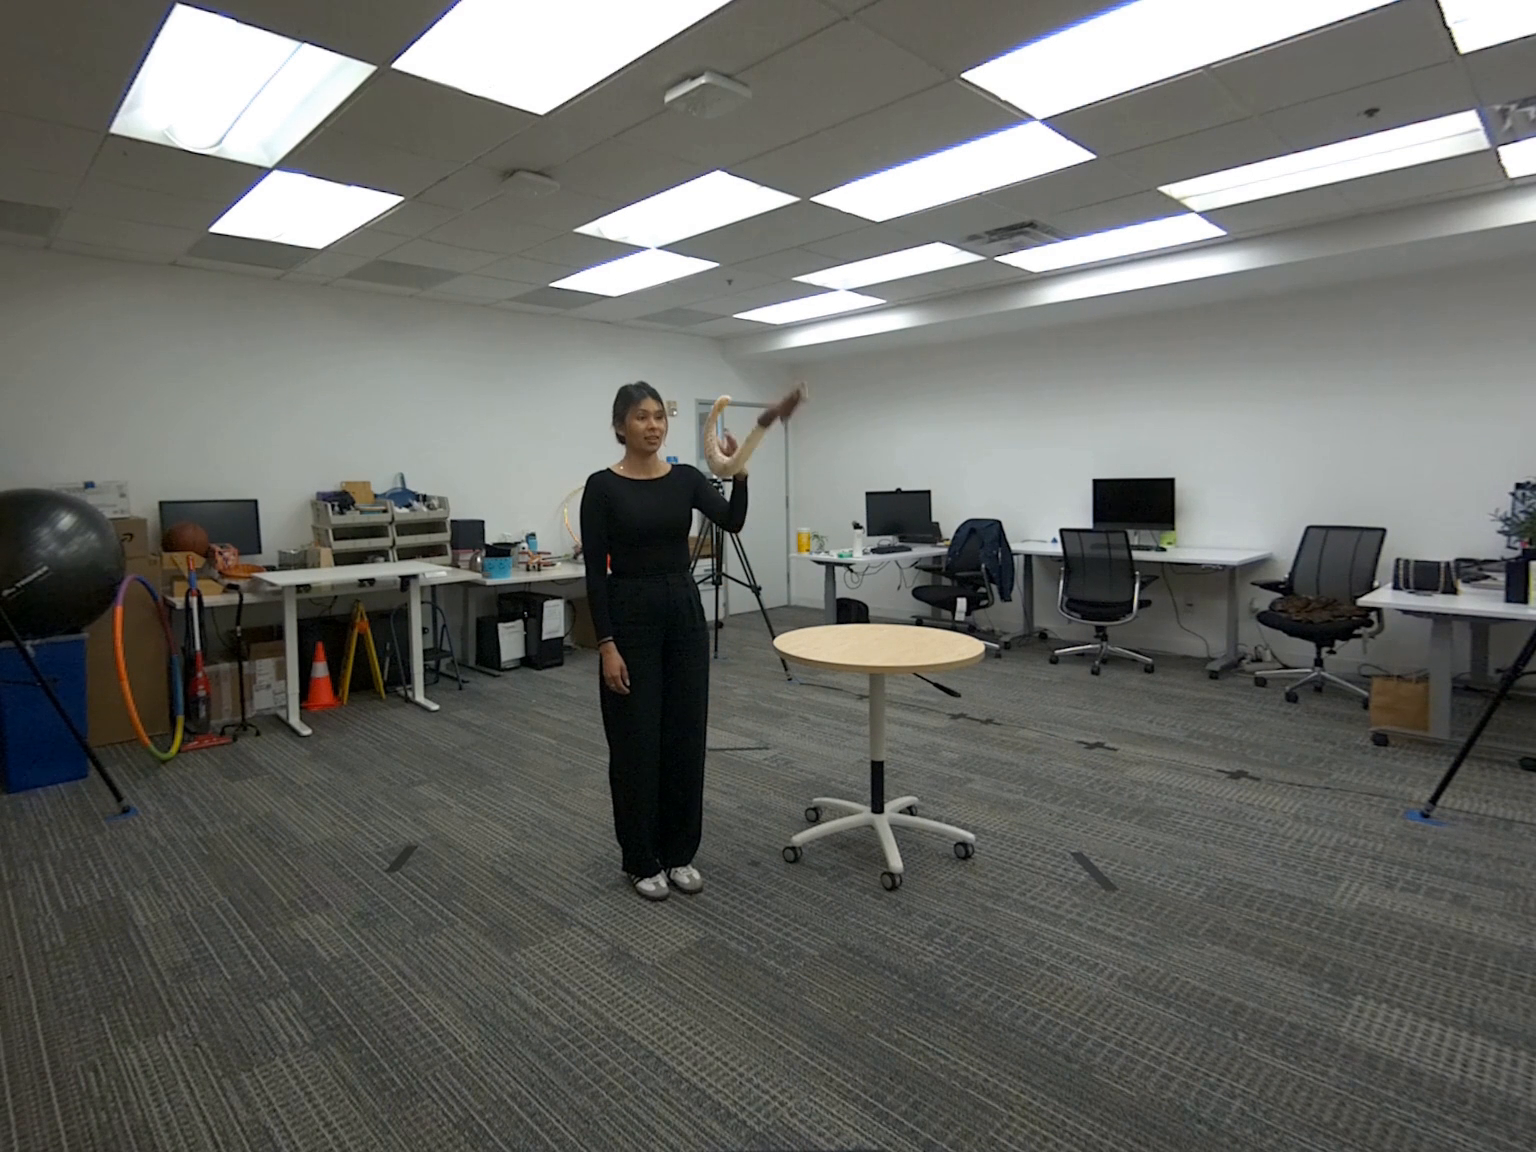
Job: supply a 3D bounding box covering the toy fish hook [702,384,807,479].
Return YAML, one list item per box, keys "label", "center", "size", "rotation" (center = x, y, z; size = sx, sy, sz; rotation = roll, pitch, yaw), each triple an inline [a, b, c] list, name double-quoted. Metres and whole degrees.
- label: "toy fish hook"
  center: [-0.055, -0.401, 2.368]
  size: [0.047, 0.228, 0.510]
  rotation: [-11, -13, -35]
